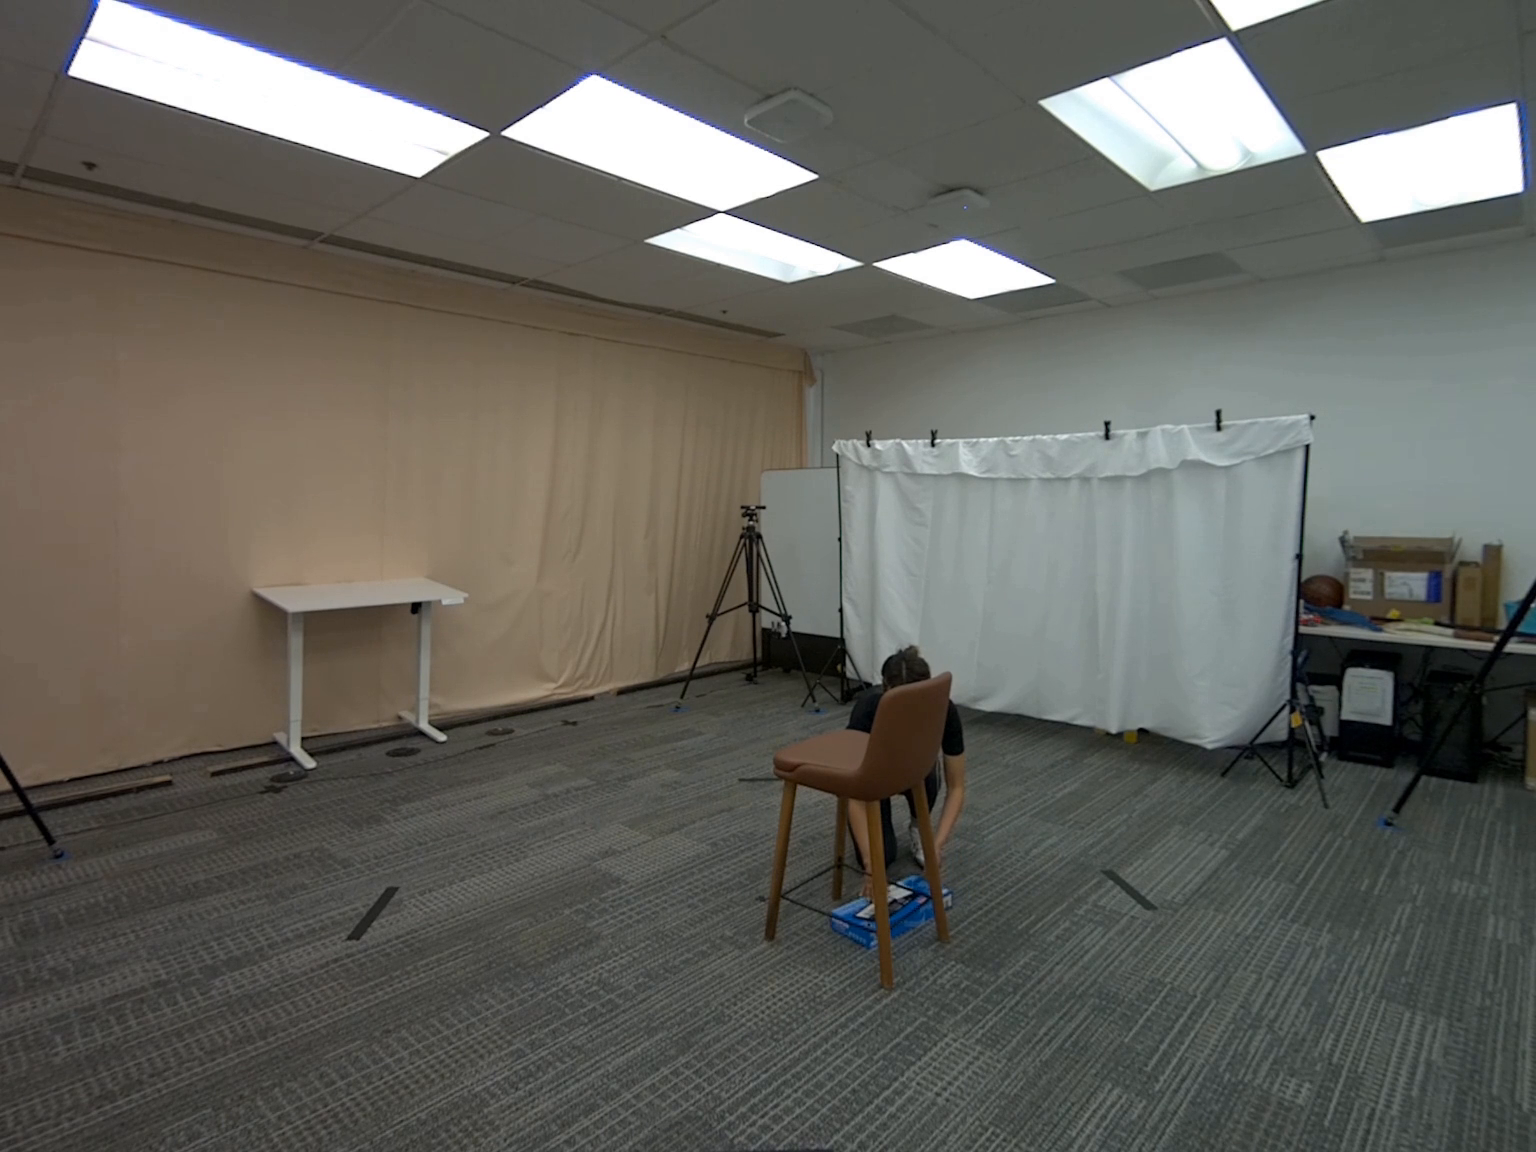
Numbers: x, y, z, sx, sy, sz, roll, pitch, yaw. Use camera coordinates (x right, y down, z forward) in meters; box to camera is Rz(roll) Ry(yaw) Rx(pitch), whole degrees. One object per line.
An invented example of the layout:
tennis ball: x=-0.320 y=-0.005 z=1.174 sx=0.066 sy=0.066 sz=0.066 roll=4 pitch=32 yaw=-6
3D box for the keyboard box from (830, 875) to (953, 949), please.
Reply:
keyboard box: x=0.418 y=1.119 z=2.844 sx=0.424 sy=0.059 sz=0.182 roll=-5 pitch=6 yaw=-40
